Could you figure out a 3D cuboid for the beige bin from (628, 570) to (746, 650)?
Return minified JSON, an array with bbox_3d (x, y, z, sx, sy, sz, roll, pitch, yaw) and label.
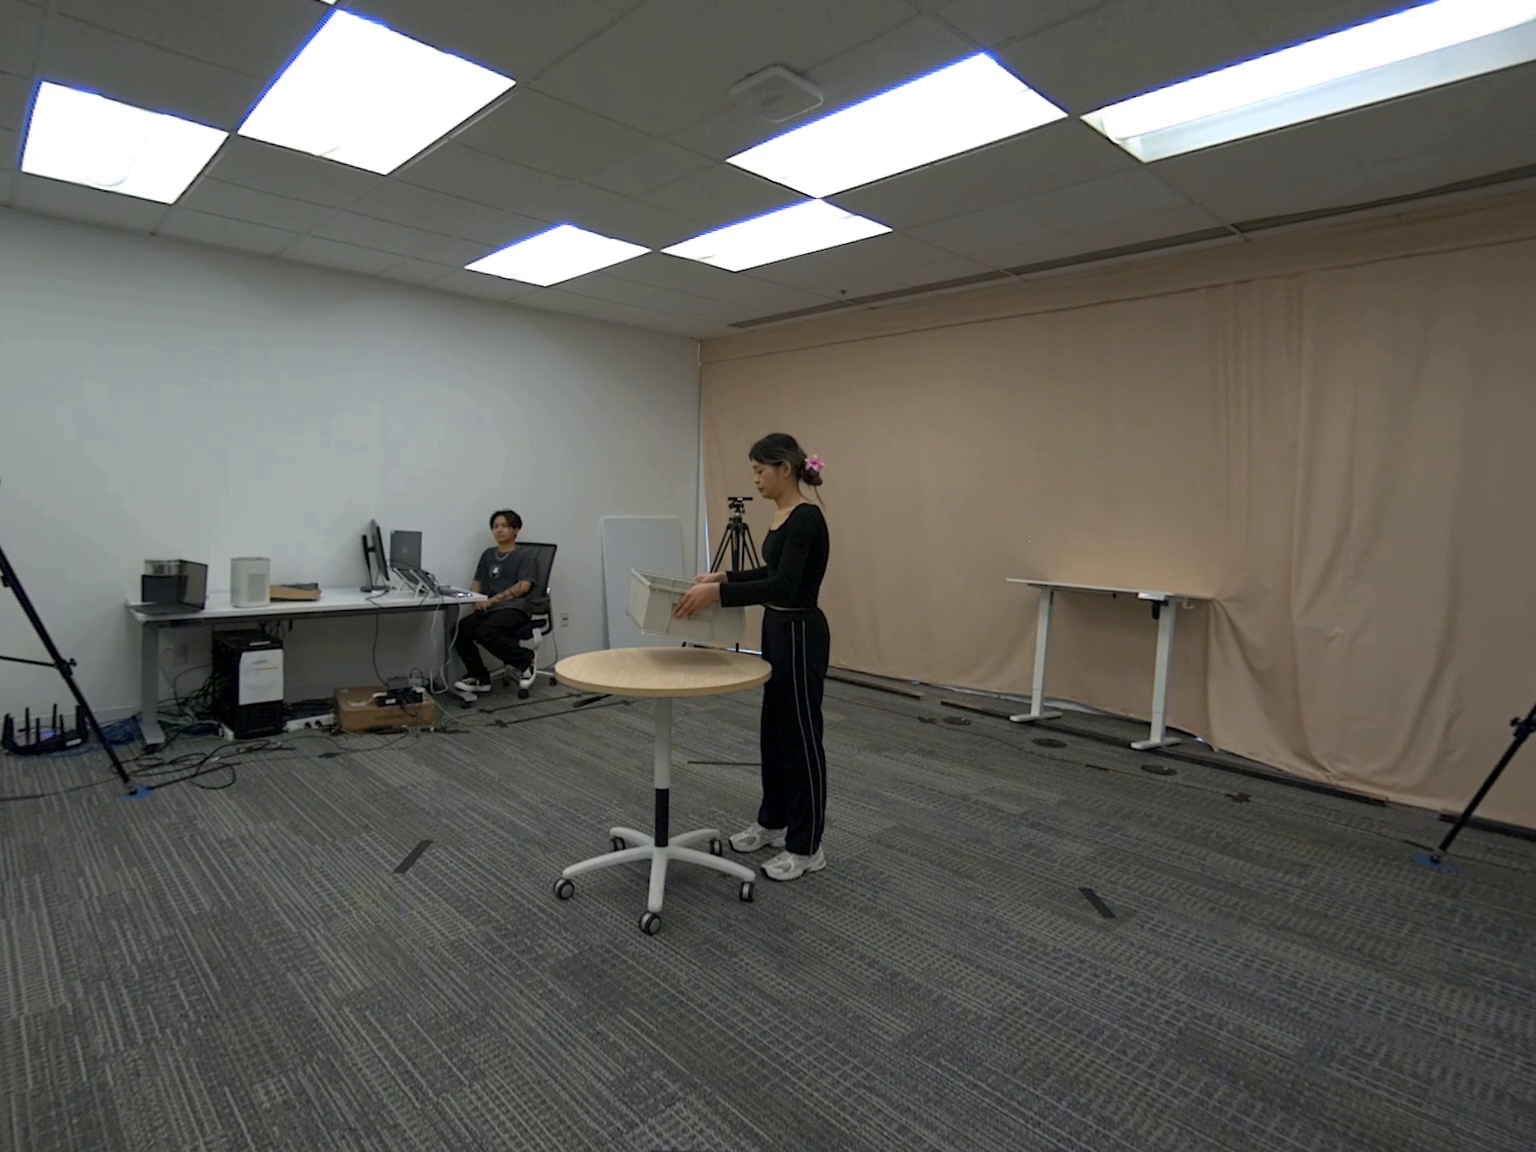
[{"bbox_3d":[-0.318,0.123,3.132,0.372,0.188,0.429,9,5,-17],"label":"beige bin"}]
